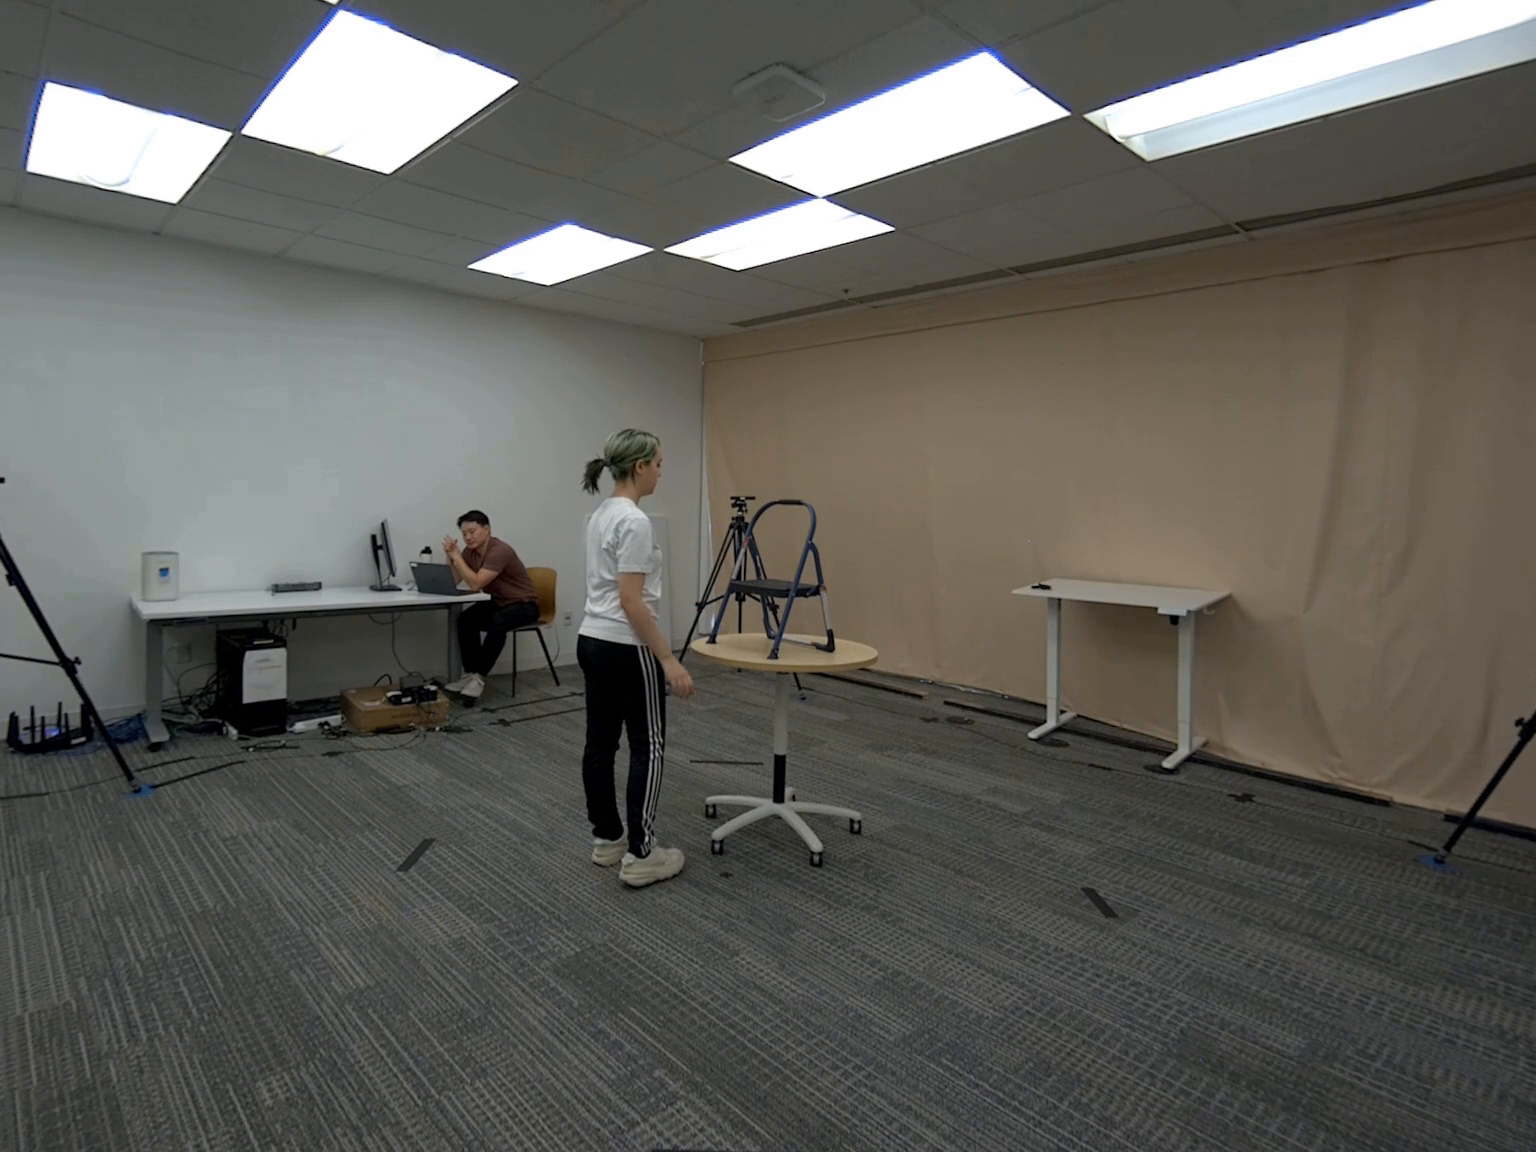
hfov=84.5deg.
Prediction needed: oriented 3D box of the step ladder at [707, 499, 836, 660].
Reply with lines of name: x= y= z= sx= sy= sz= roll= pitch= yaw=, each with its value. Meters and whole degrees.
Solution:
step ladder: x=0.015 y=-0.006 z=3.427 sx=0.341 sy=0.604 sz=0.441 roll=-1 pitch=5 yaw=-39
